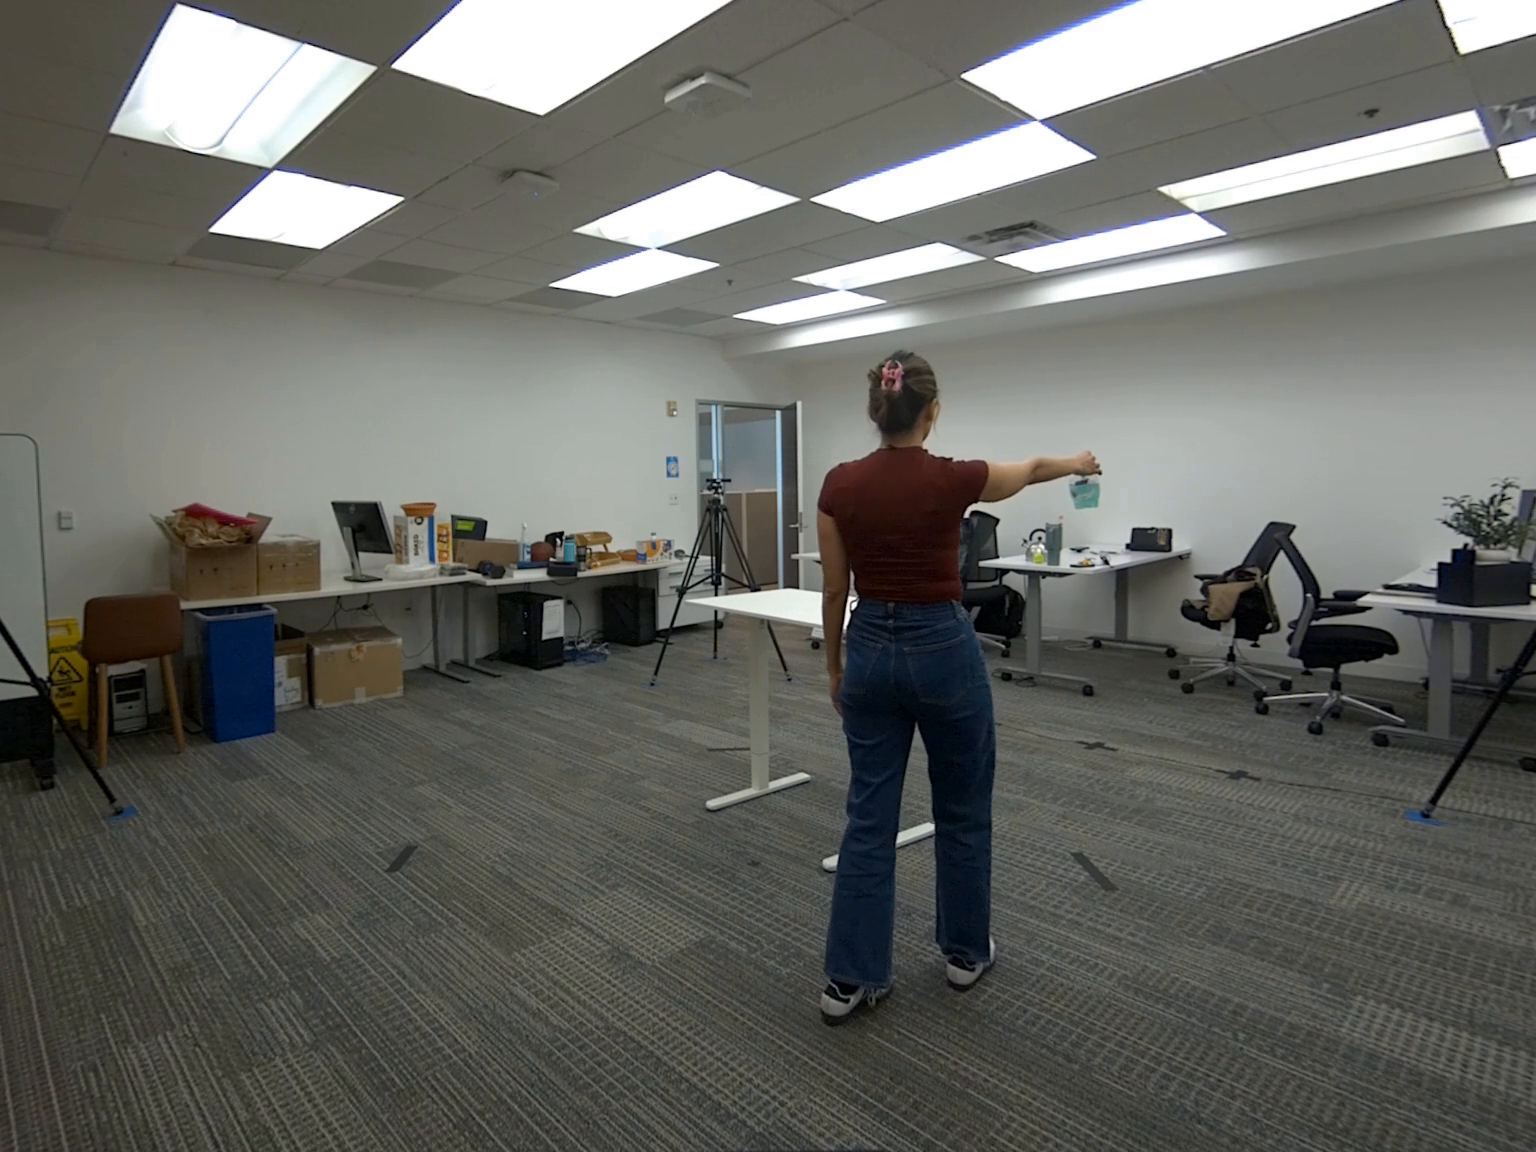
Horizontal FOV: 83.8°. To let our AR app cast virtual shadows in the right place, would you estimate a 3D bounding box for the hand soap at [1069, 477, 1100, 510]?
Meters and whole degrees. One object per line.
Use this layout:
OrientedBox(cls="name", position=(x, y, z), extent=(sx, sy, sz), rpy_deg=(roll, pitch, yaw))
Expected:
OrientedBox(cls="hand soap", position=(0.954, -0.286, 2.580), extent=(0.086, 0.167, 0.042), rpy_deg=(-7, 4, 31))
